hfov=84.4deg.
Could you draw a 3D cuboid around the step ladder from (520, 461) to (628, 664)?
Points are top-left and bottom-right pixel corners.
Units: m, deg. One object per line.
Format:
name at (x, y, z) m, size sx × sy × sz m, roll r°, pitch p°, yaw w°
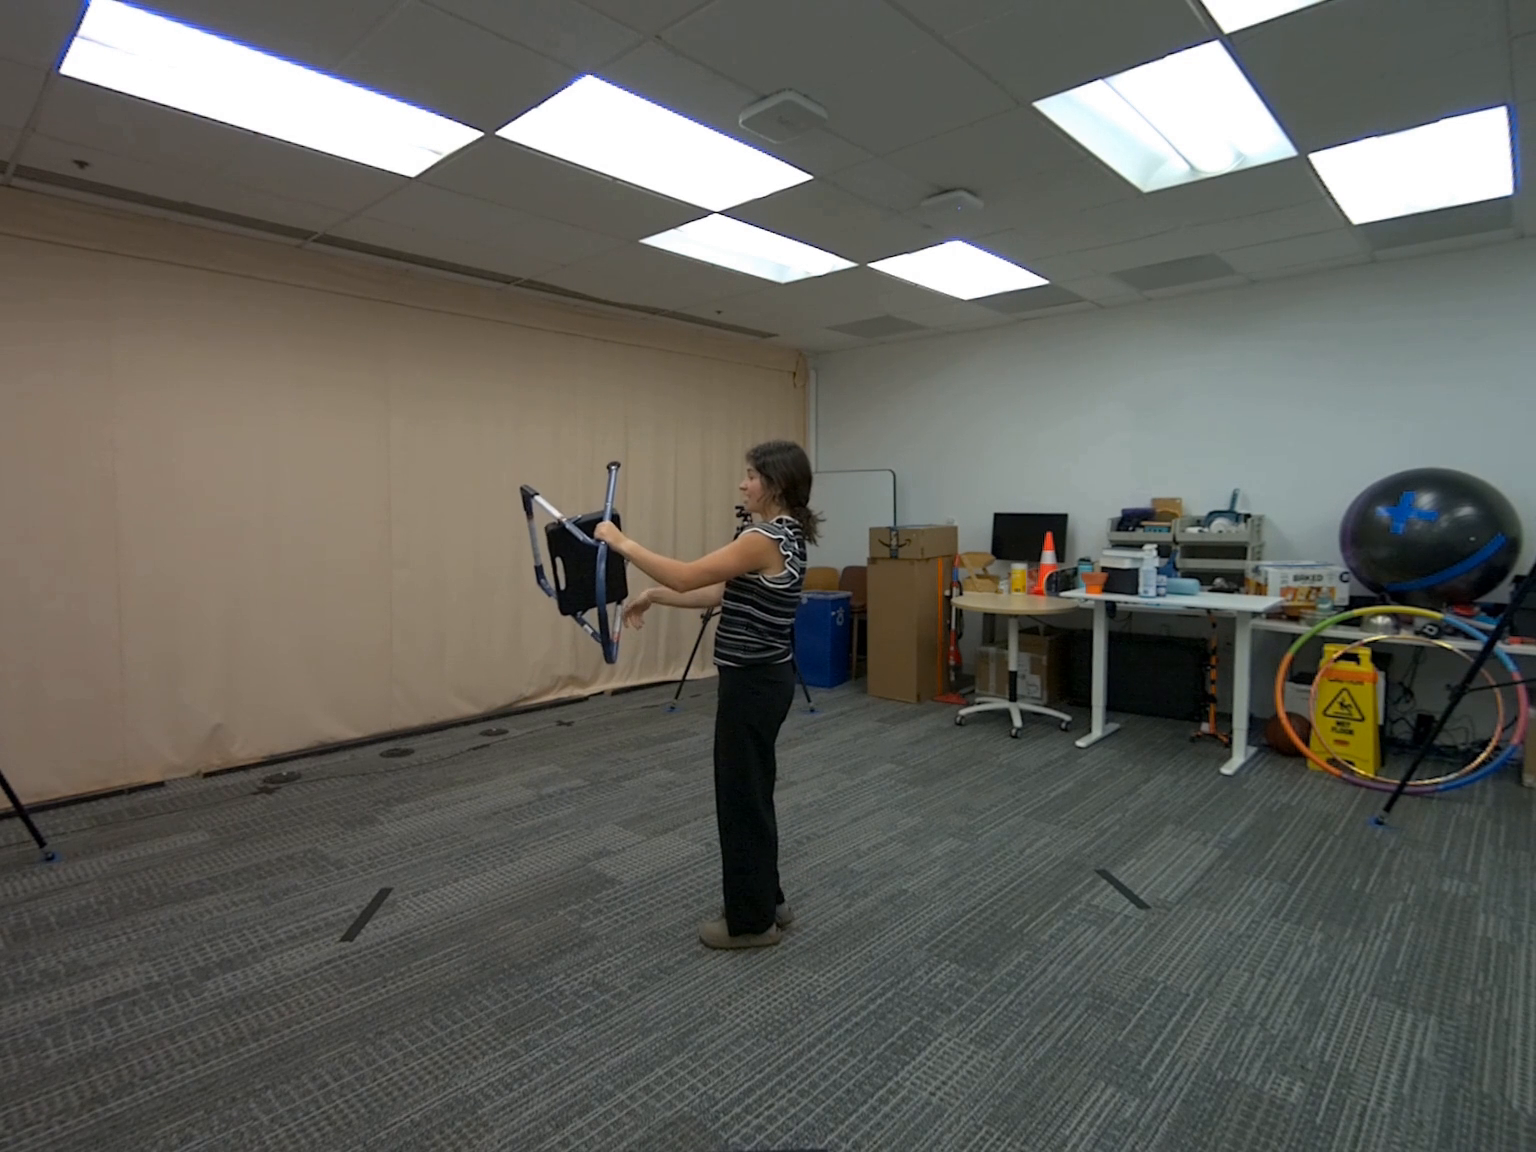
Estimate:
step ladder at (-0.541, -0.009, 2.740) m, size 0.344 × 0.422 × 0.627 m, roll -16°, pitch 38°, yaw -19°
